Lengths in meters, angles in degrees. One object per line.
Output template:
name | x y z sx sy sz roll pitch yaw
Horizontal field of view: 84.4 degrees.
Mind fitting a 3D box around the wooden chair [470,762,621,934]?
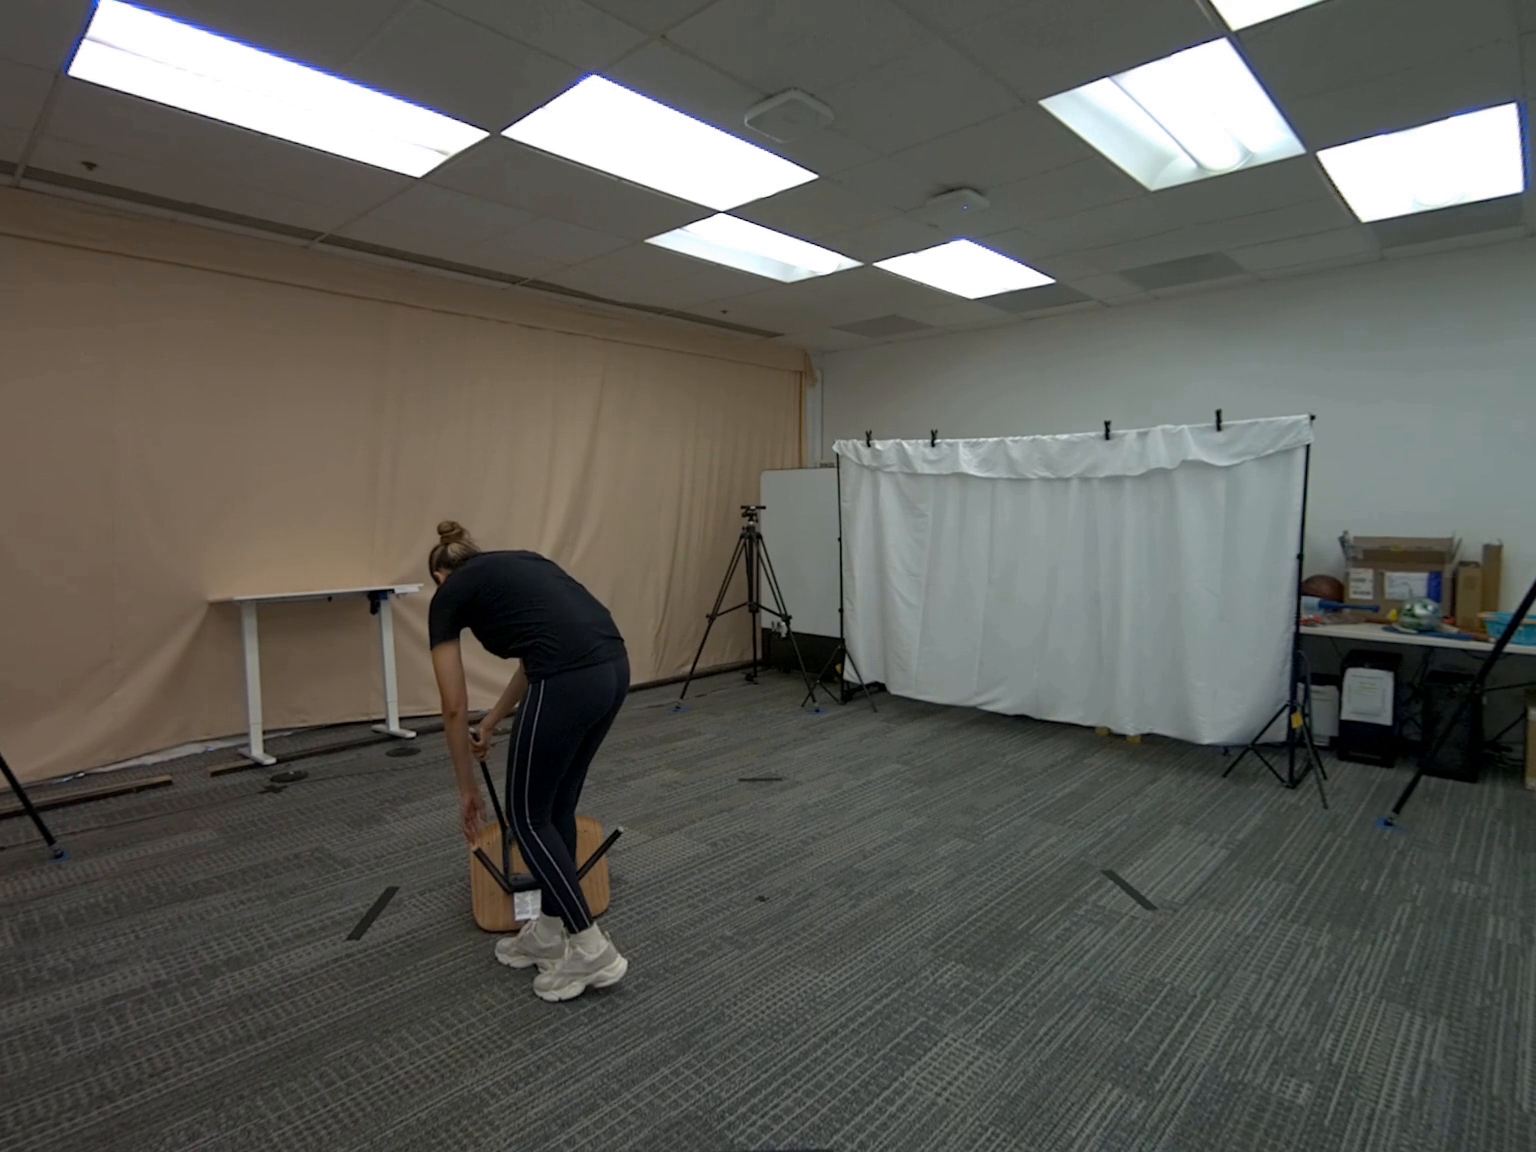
wooden chair | -0.801 0.980 2.958 0.469 0.868 0.538 -2 44 -19
